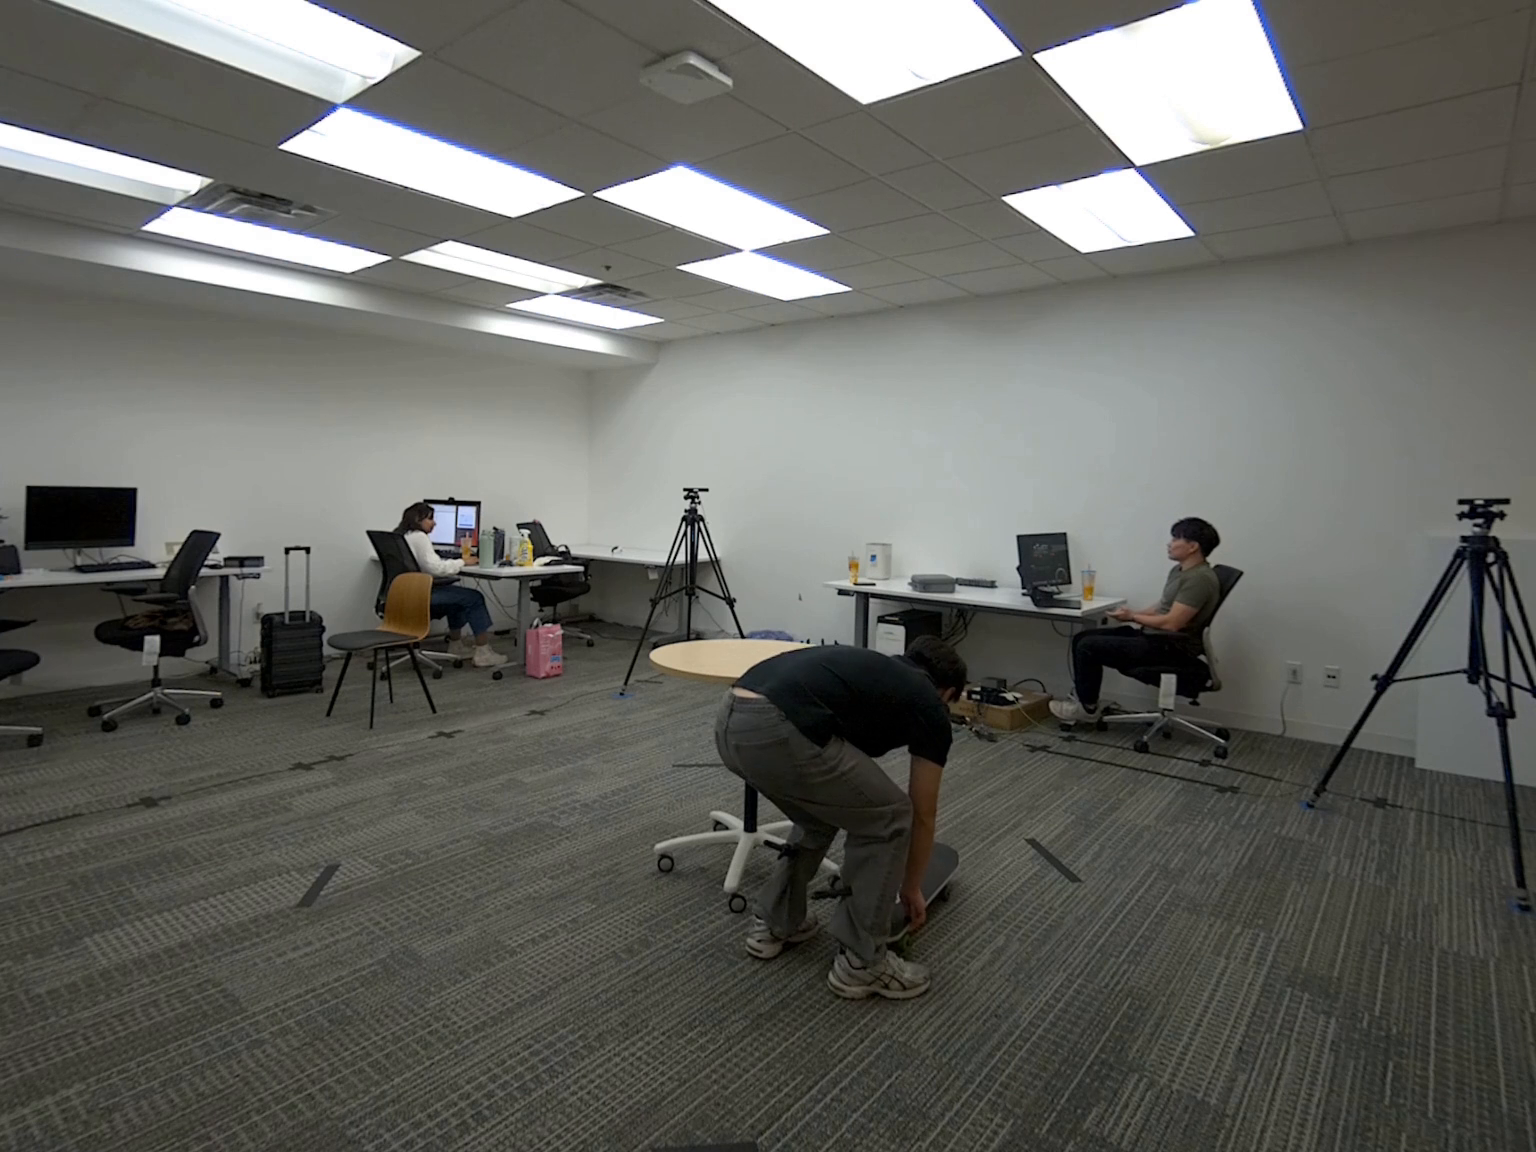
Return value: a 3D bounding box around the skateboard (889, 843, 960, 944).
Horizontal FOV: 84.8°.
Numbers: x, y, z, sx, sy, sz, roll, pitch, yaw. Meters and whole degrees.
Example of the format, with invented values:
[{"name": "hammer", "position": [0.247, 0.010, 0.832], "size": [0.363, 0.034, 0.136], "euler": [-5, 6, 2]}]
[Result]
[{"name": "skateboard", "position": [0.442, 1.063, 2.796], "size": [0.199, 0.110, 0.766], "euler": [4, 7, 30]}]
